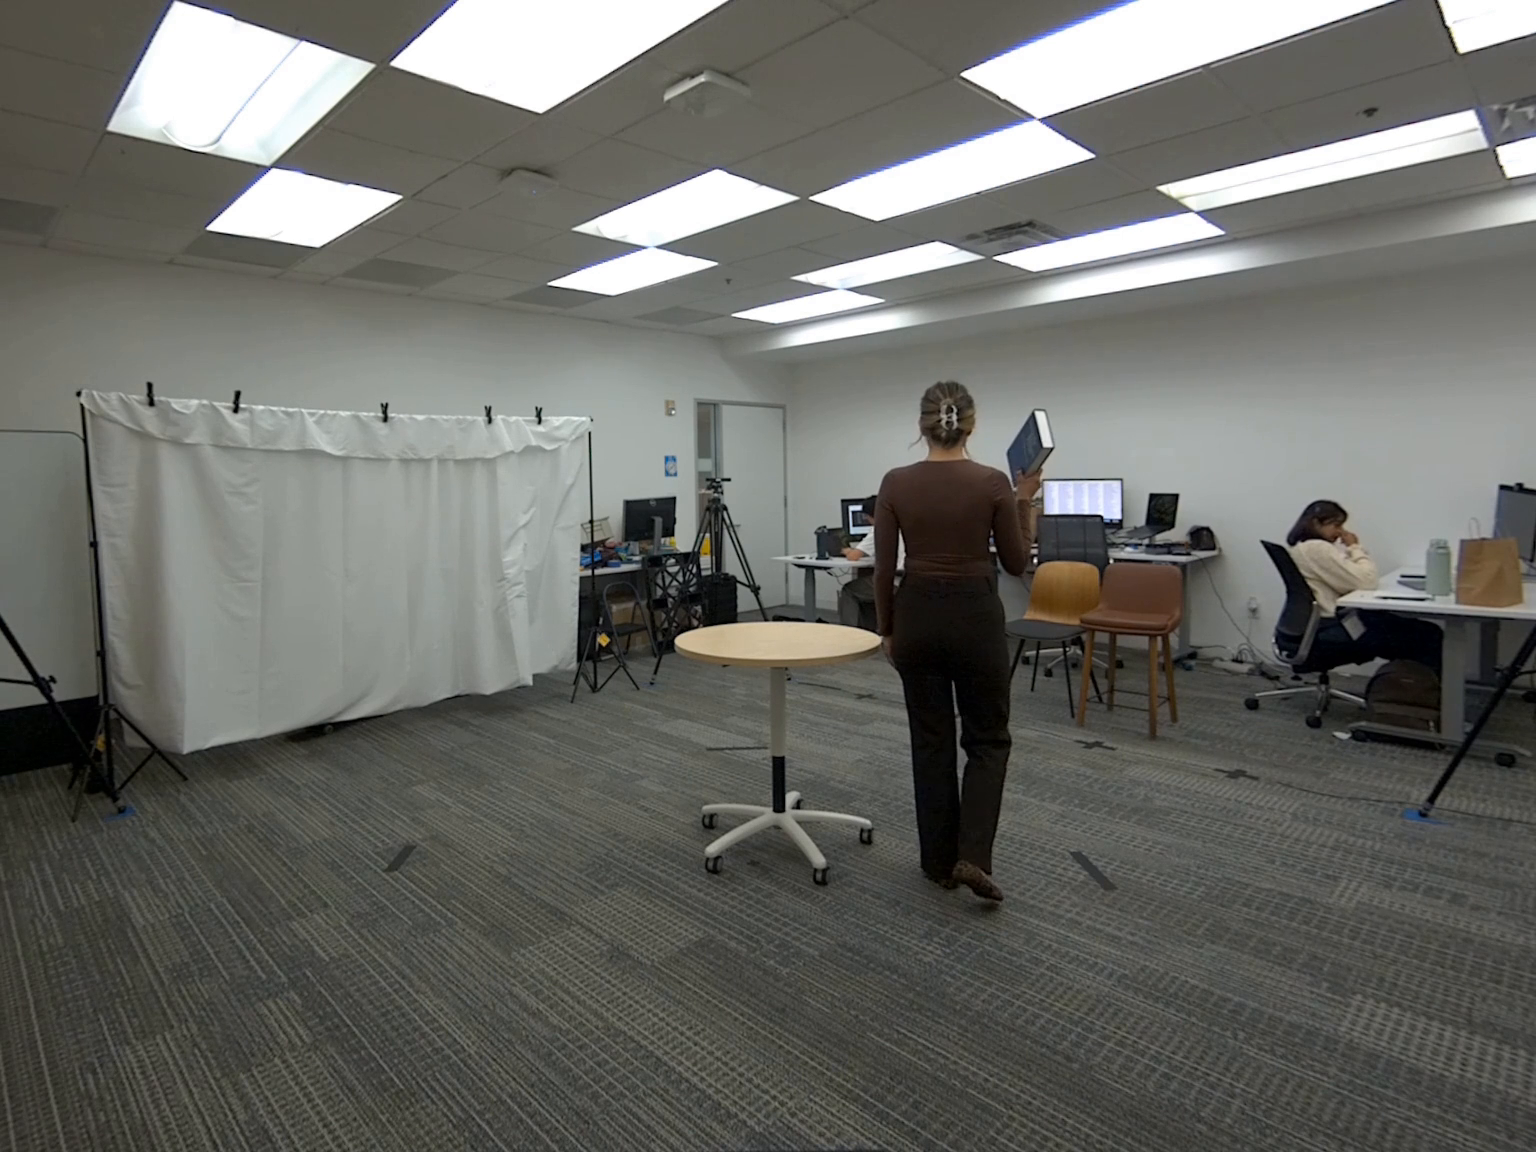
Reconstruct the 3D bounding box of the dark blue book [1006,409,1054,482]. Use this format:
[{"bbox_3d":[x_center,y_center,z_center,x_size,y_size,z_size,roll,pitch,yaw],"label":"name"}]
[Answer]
[{"bbox_3d":[0.904,-0.437,2.940,0.045,0.167,0.240,3,-30,-3],"label":"dark blue book"}]
